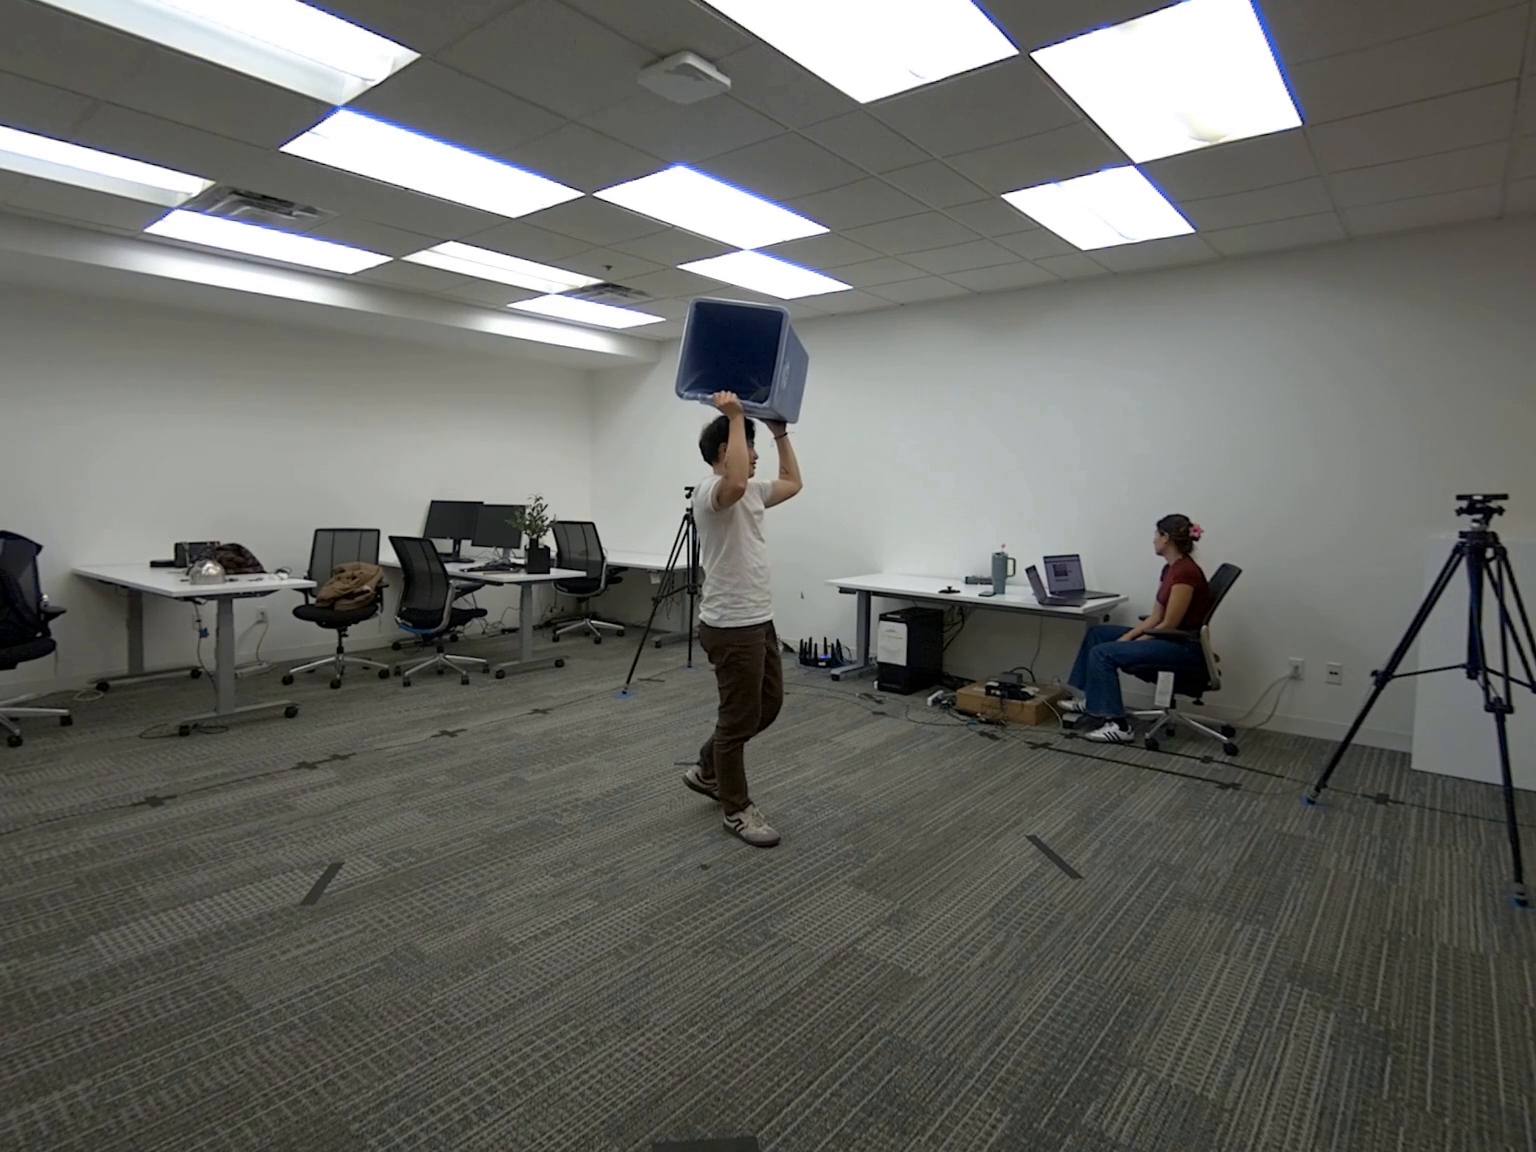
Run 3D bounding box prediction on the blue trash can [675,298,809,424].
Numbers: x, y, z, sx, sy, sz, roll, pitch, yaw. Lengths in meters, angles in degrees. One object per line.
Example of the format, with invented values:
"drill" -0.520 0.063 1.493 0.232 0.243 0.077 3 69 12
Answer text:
"blue trash can" -0.066 -0.817 3.355 0.381 0.377 0.703 11 5 13
